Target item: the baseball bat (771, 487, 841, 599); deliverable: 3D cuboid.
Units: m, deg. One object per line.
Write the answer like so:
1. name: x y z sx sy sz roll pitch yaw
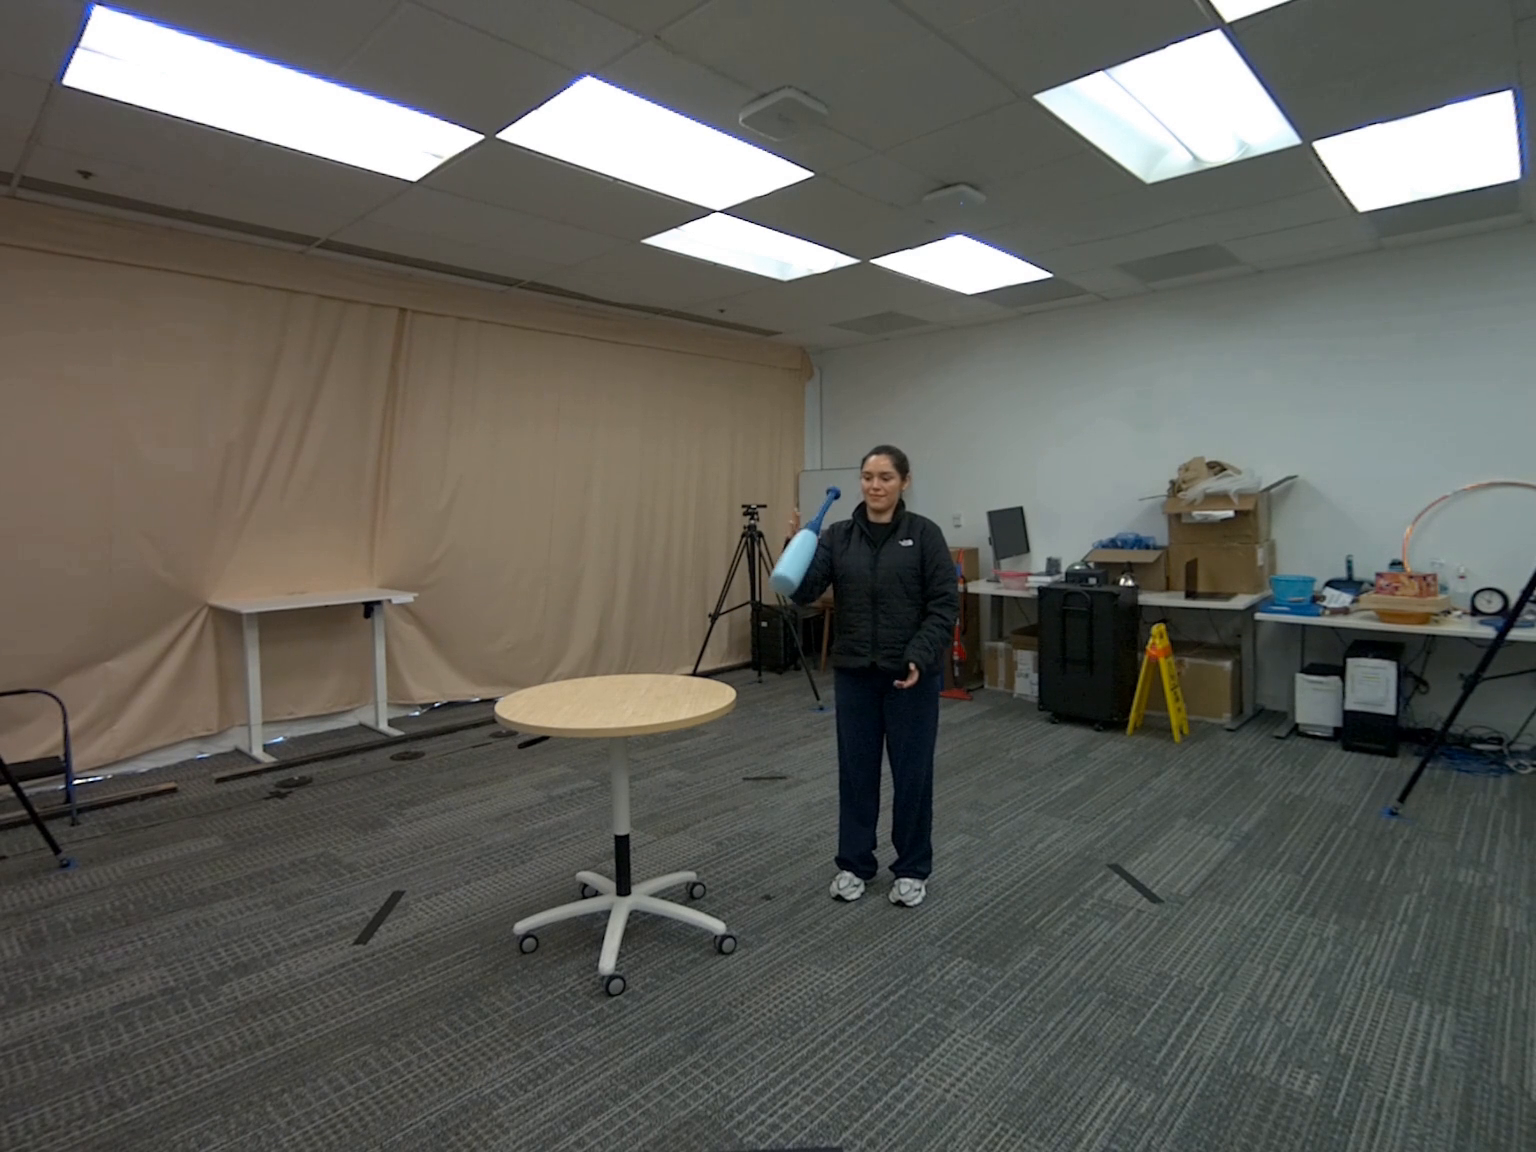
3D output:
1. baseball bat: 0.147 -0.091 2.664 0.091 0.087 0.542 0 37 25
